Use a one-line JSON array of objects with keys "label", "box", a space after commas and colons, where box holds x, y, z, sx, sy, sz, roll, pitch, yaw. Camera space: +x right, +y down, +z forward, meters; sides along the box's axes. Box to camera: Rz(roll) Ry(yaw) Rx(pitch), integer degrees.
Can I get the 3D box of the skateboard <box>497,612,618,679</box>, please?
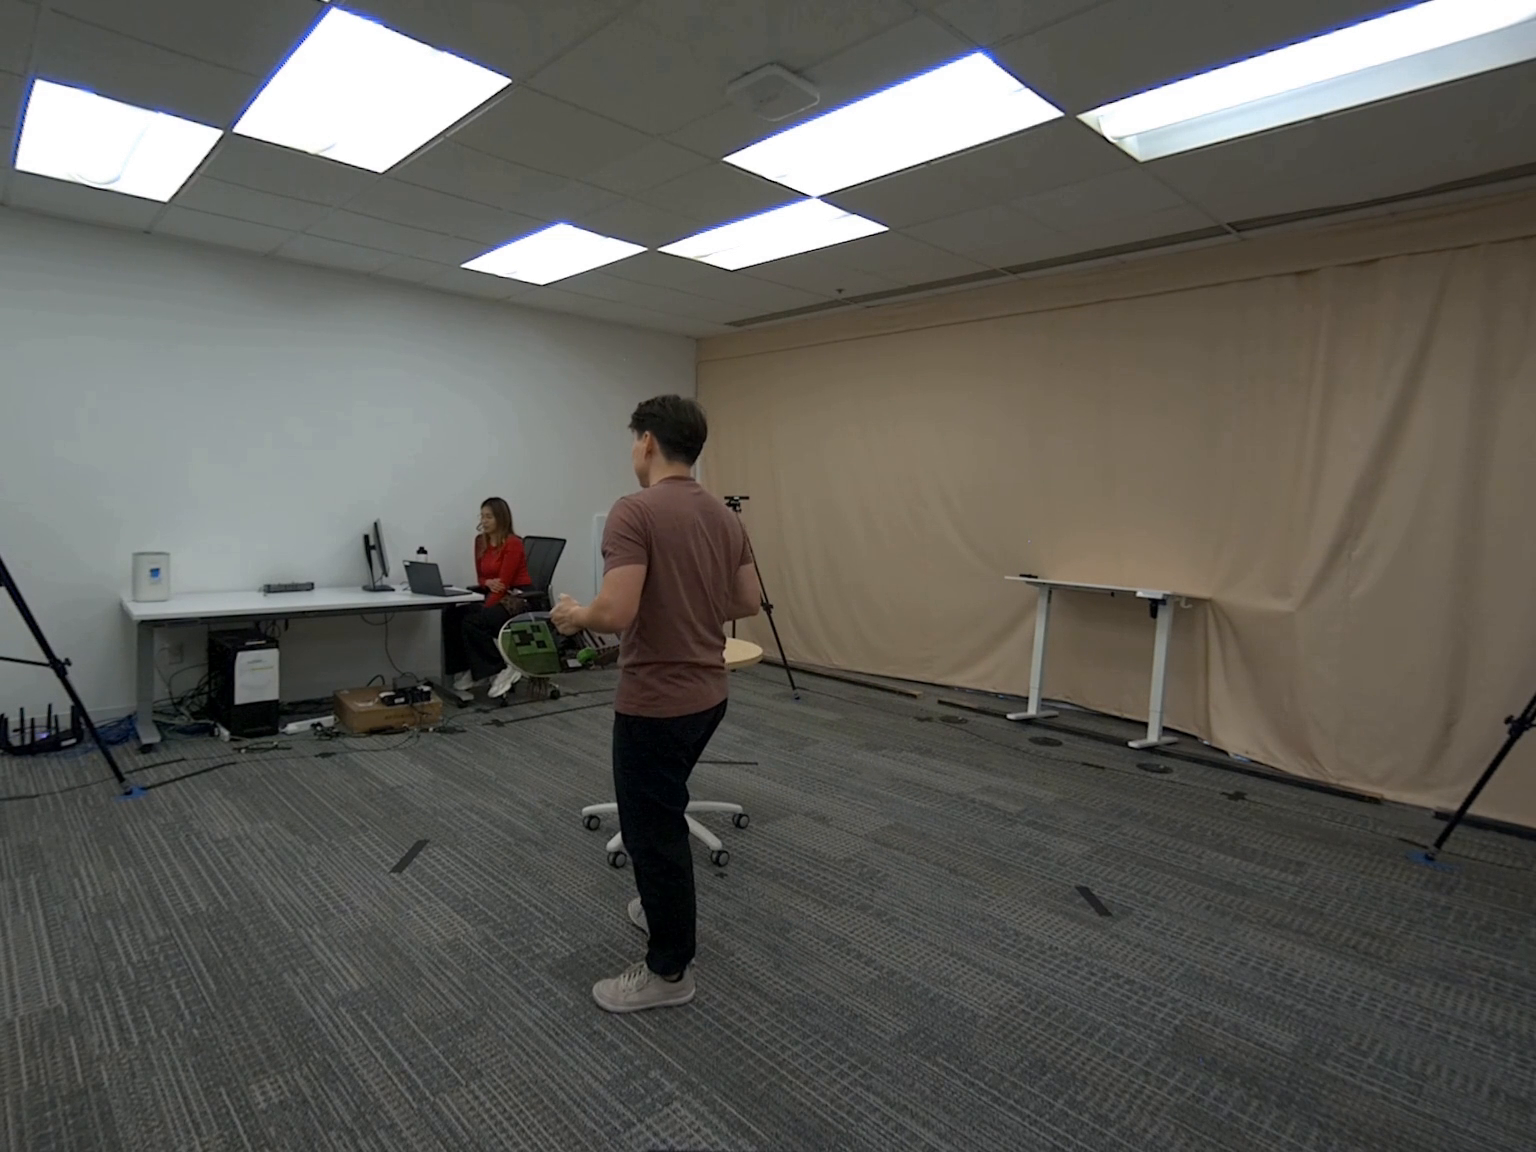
[{"label": "skateboard", "box": [-0.442, 0.168, 2.461, 0.111, 0.197, 0.768, -38, -20, 27]}]
